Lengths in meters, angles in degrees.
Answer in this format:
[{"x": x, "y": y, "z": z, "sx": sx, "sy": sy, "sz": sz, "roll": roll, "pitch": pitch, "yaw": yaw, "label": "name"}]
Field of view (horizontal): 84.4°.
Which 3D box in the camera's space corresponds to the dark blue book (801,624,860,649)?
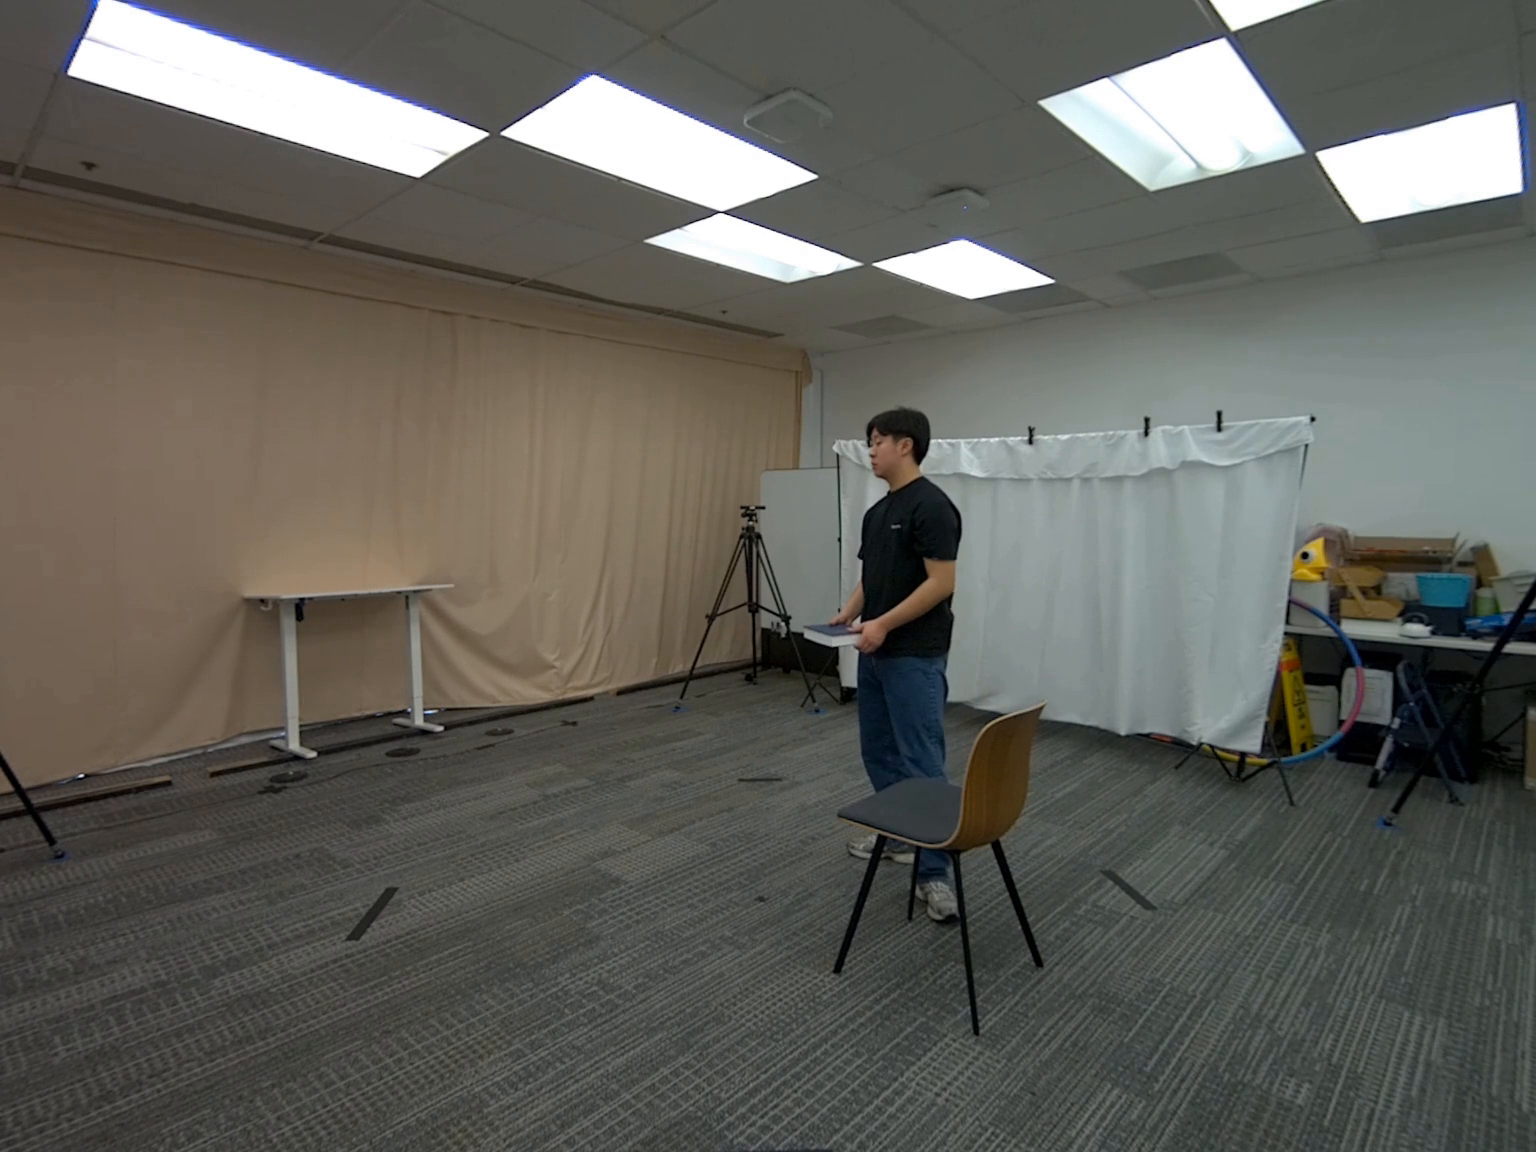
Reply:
[{"x": 0.258, "y": 0.222, "z": 3.095, "sx": 0.161, "sy": 0.045, "sz": 0.249, "roll": -4, "pitch": 5, "yaw": -16, "label": "dark blue book"}]
